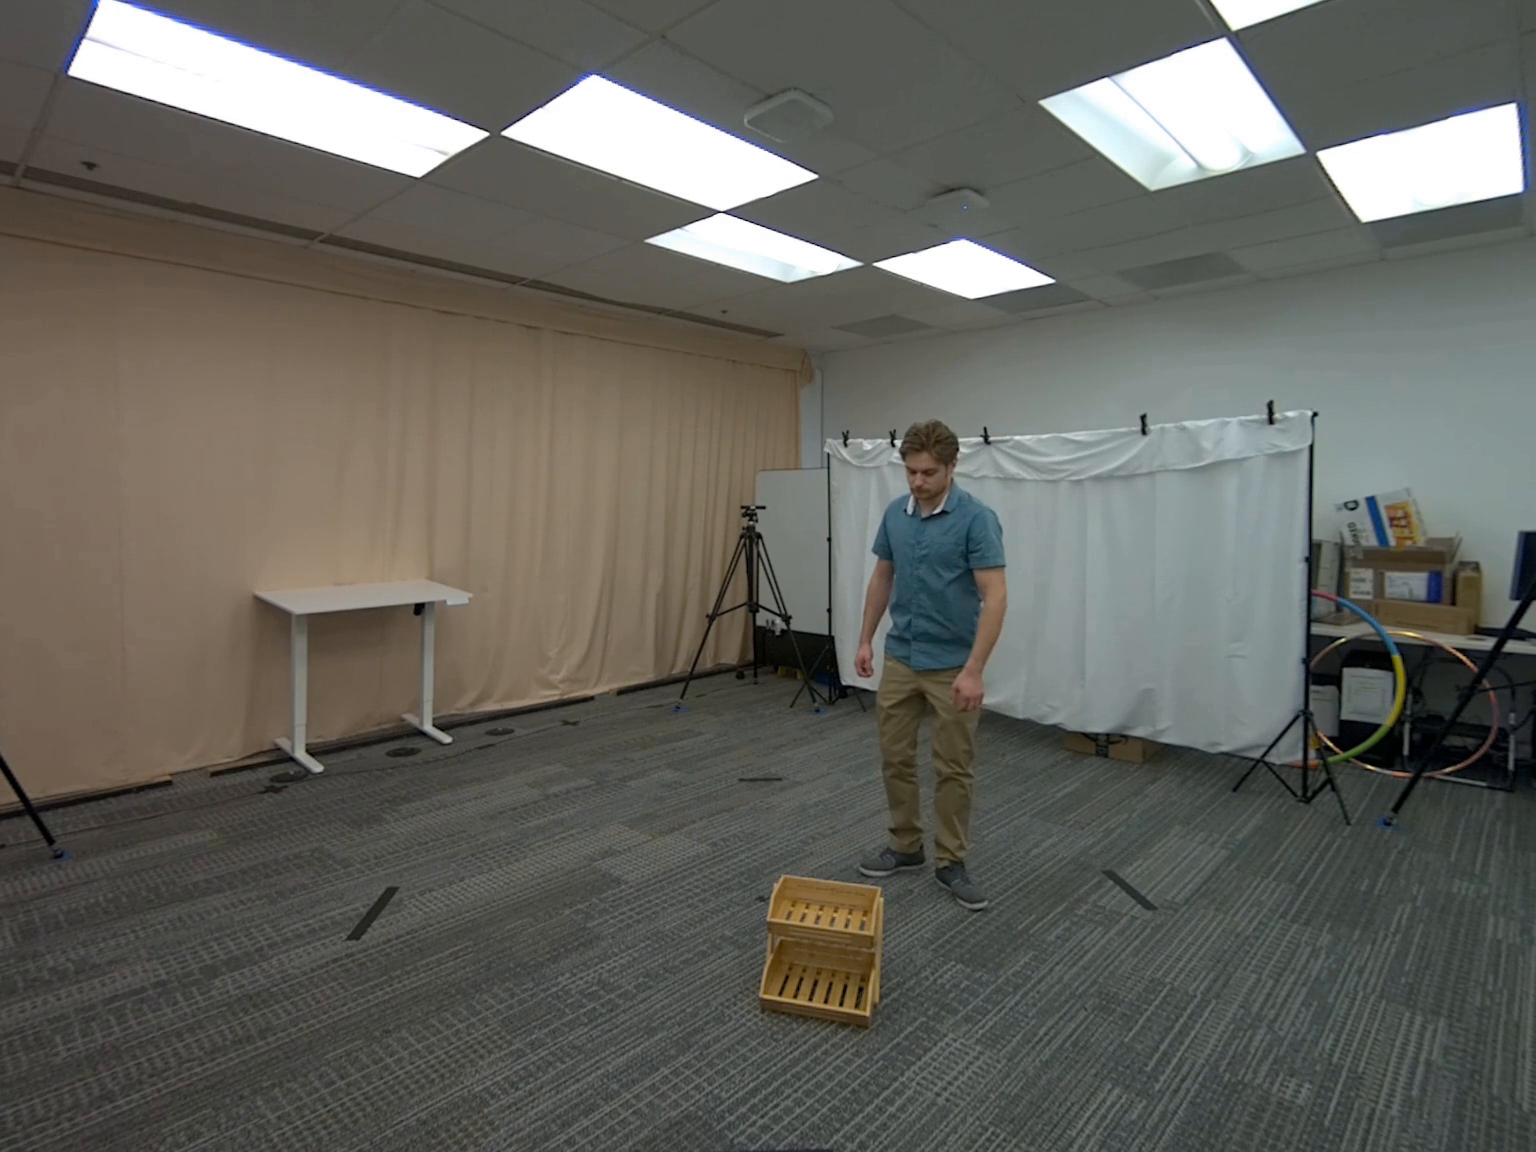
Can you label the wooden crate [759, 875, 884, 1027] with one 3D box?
[{"bbox_3d":[0.165,1.061,2.395,0.330,0.273,0.297,1,3,14],"label":"wooden crate"}]
